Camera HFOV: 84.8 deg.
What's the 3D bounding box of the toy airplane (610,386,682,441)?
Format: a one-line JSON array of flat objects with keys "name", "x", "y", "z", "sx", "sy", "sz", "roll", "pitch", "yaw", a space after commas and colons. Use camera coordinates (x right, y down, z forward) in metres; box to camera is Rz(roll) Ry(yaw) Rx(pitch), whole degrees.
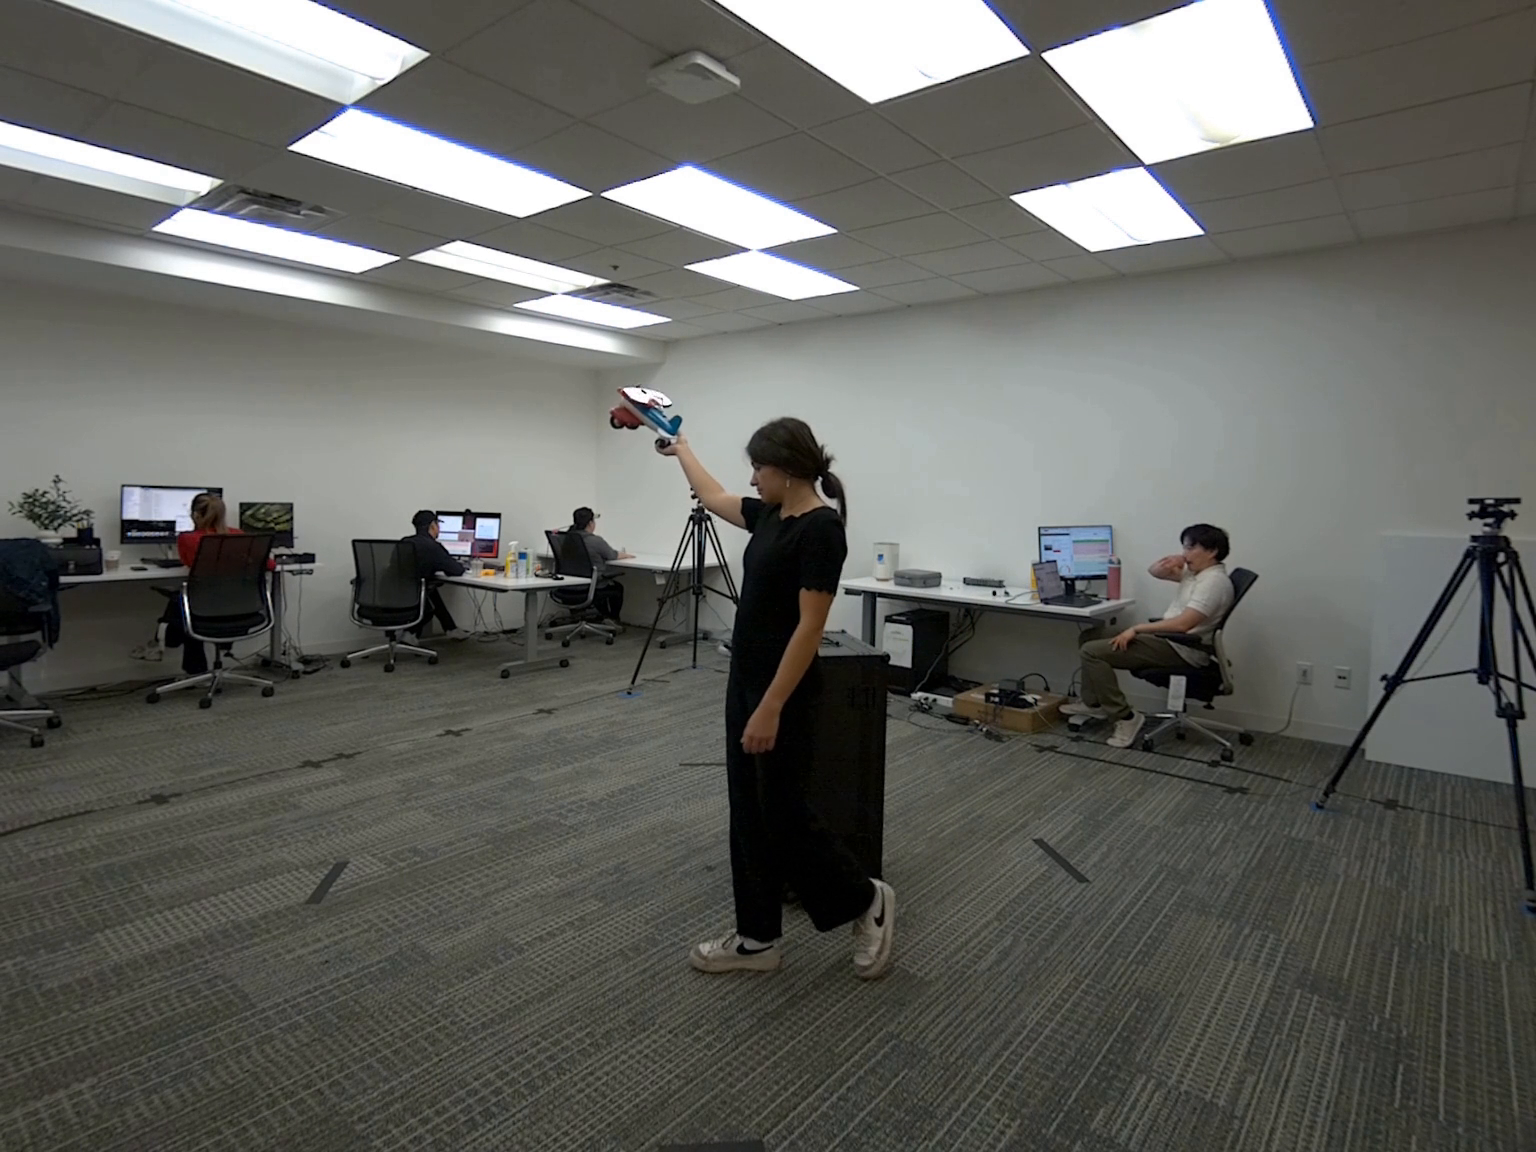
[{"name": "toy airplane", "x": -0.415, "y": -0.556, "z": 2.953, "sx": 0.258, "sy": 0.155, "sz": 0.255, "roll": 19, "pitch": 18, "yaw": -4}]
